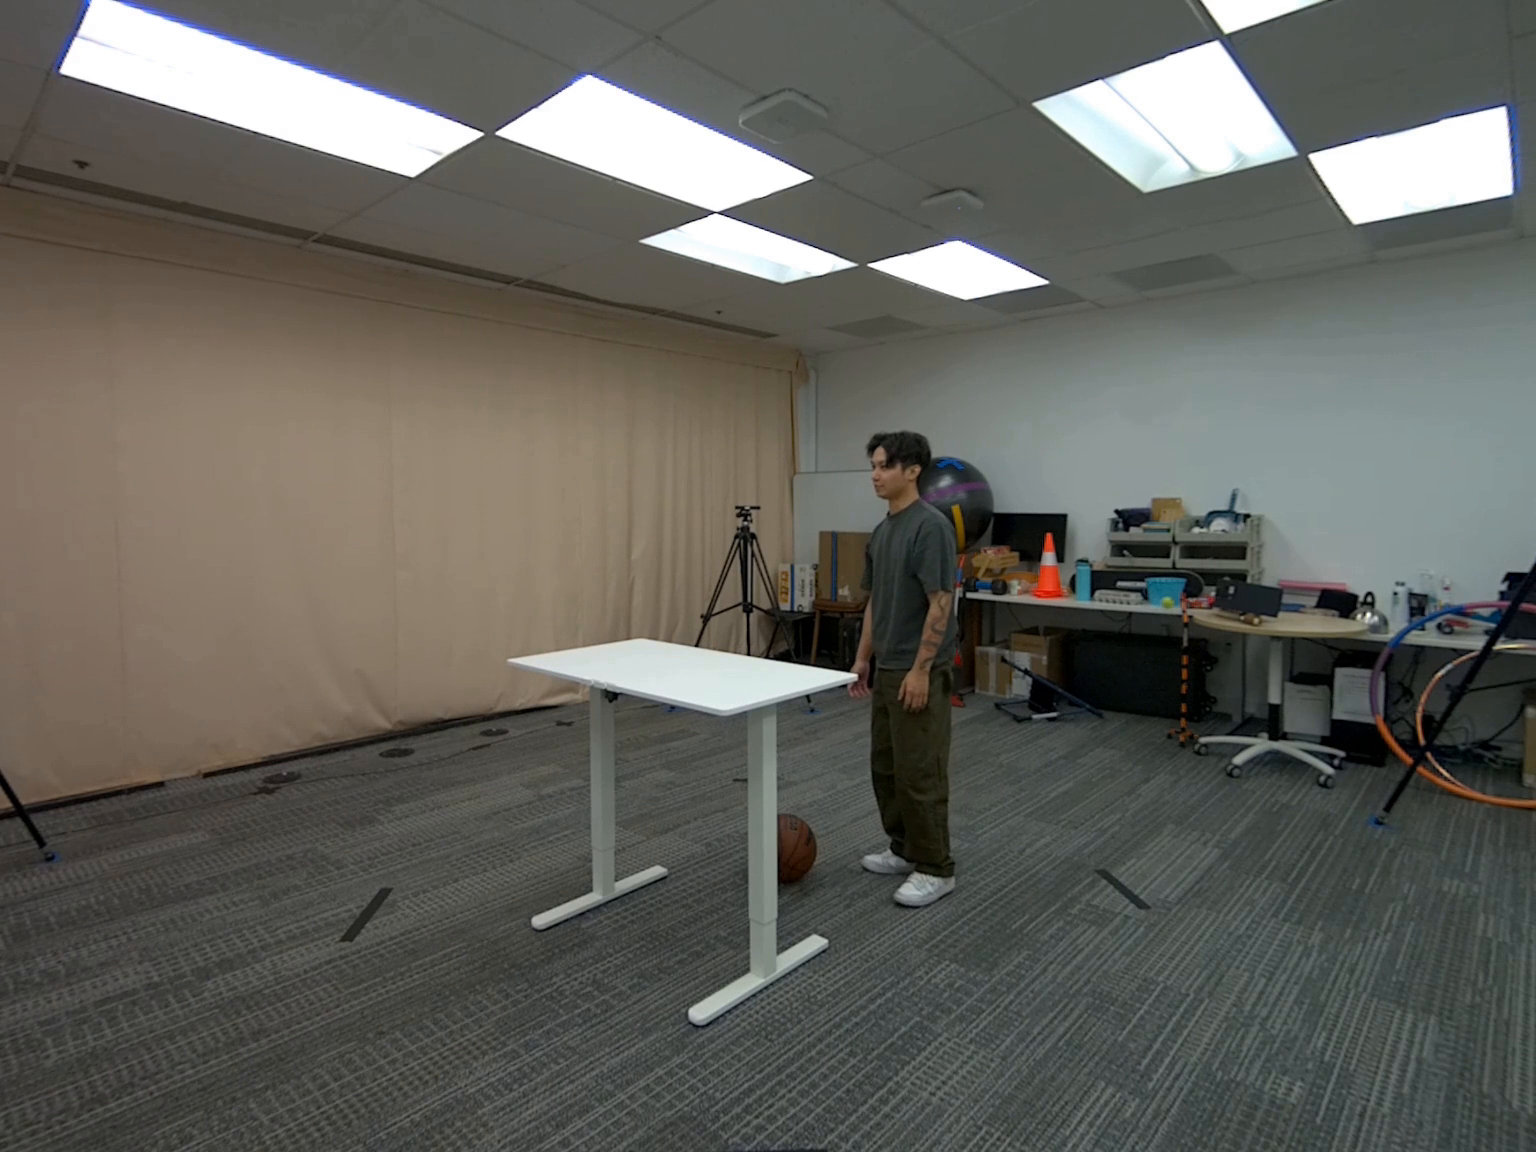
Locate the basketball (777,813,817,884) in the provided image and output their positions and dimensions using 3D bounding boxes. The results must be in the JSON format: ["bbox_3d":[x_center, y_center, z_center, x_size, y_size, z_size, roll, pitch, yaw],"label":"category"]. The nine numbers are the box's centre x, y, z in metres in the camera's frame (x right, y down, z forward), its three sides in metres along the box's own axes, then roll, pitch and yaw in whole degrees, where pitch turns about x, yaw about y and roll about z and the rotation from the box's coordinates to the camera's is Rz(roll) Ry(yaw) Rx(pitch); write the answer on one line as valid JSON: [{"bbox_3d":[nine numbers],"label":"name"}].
[{"bbox_3d":[0.072,1.014,3.146,0.236,0.235,0.237,0,4,-2],"label":"basketball"}]
